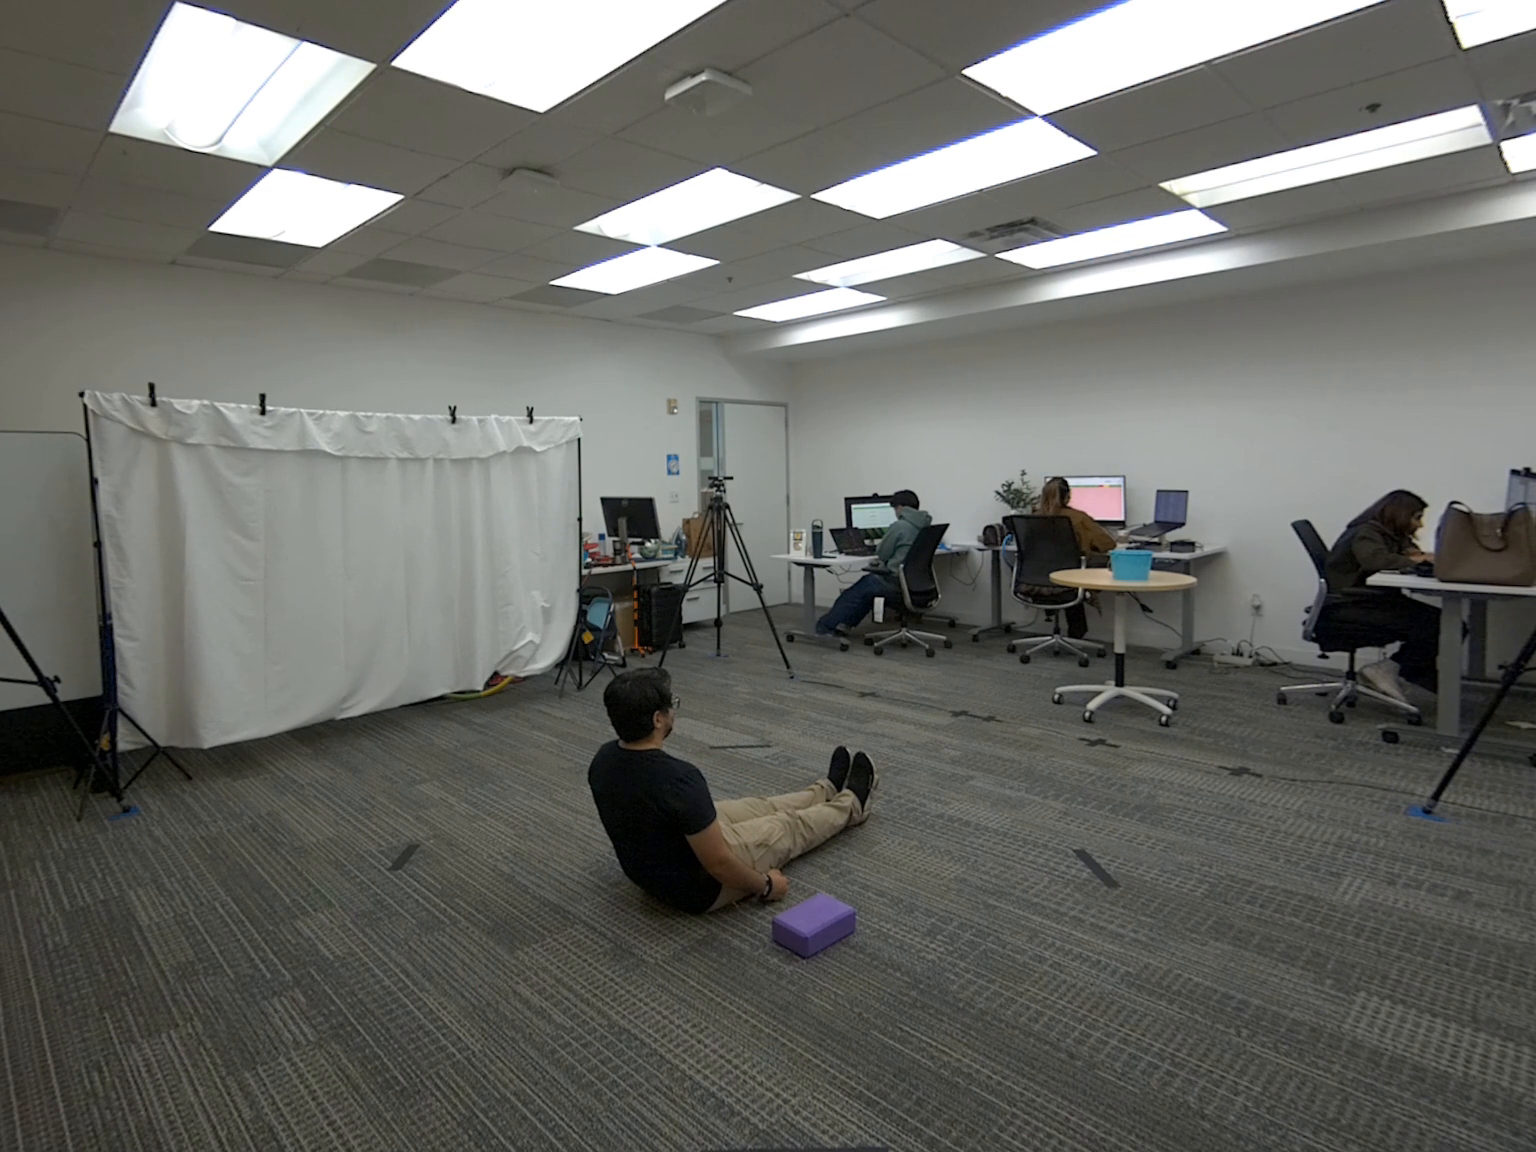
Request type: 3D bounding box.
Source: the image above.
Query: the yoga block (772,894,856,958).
[{"bbox_3d":[0.141,1.051,2.590,0.223,0.076,0.154,-6,8,-42],"label":"yoga block"}]
